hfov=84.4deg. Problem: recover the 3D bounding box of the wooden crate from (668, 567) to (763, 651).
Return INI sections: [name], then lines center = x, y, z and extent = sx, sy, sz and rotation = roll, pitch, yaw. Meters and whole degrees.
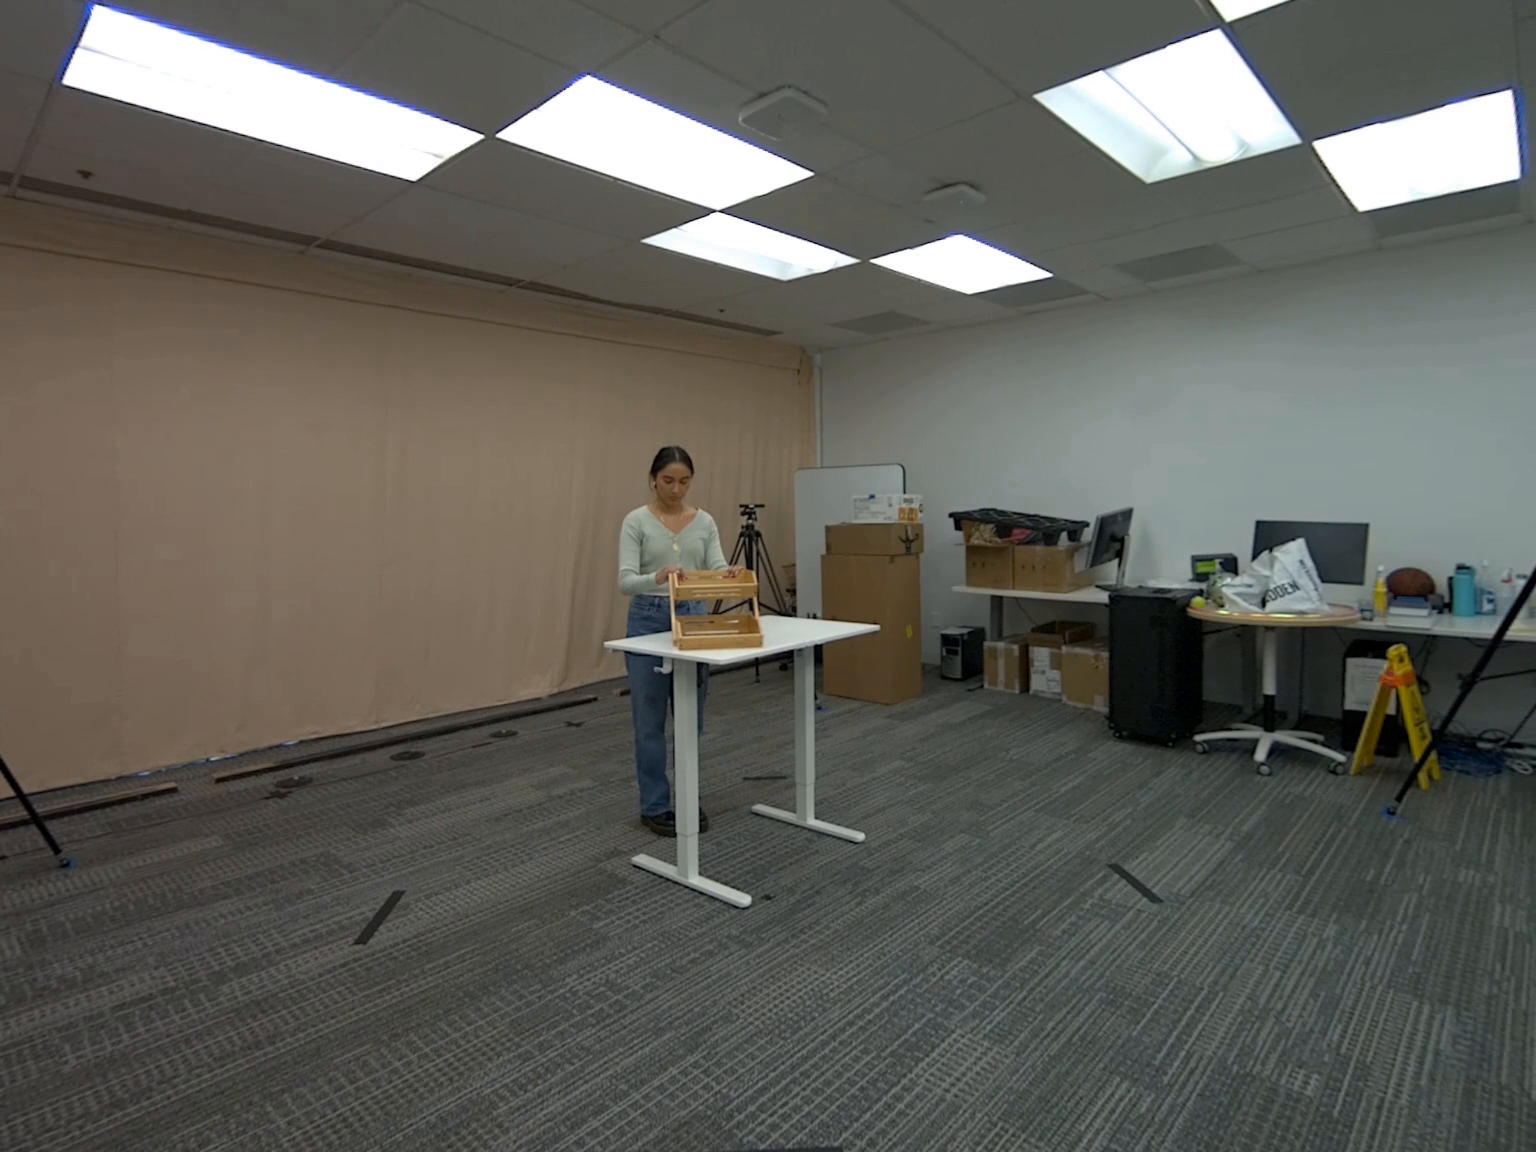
[wooden crate]
center = -0.192, 0.116, 3.113
extent = 0.321, 0.272, 0.306
rotation = -2, 4, -10
